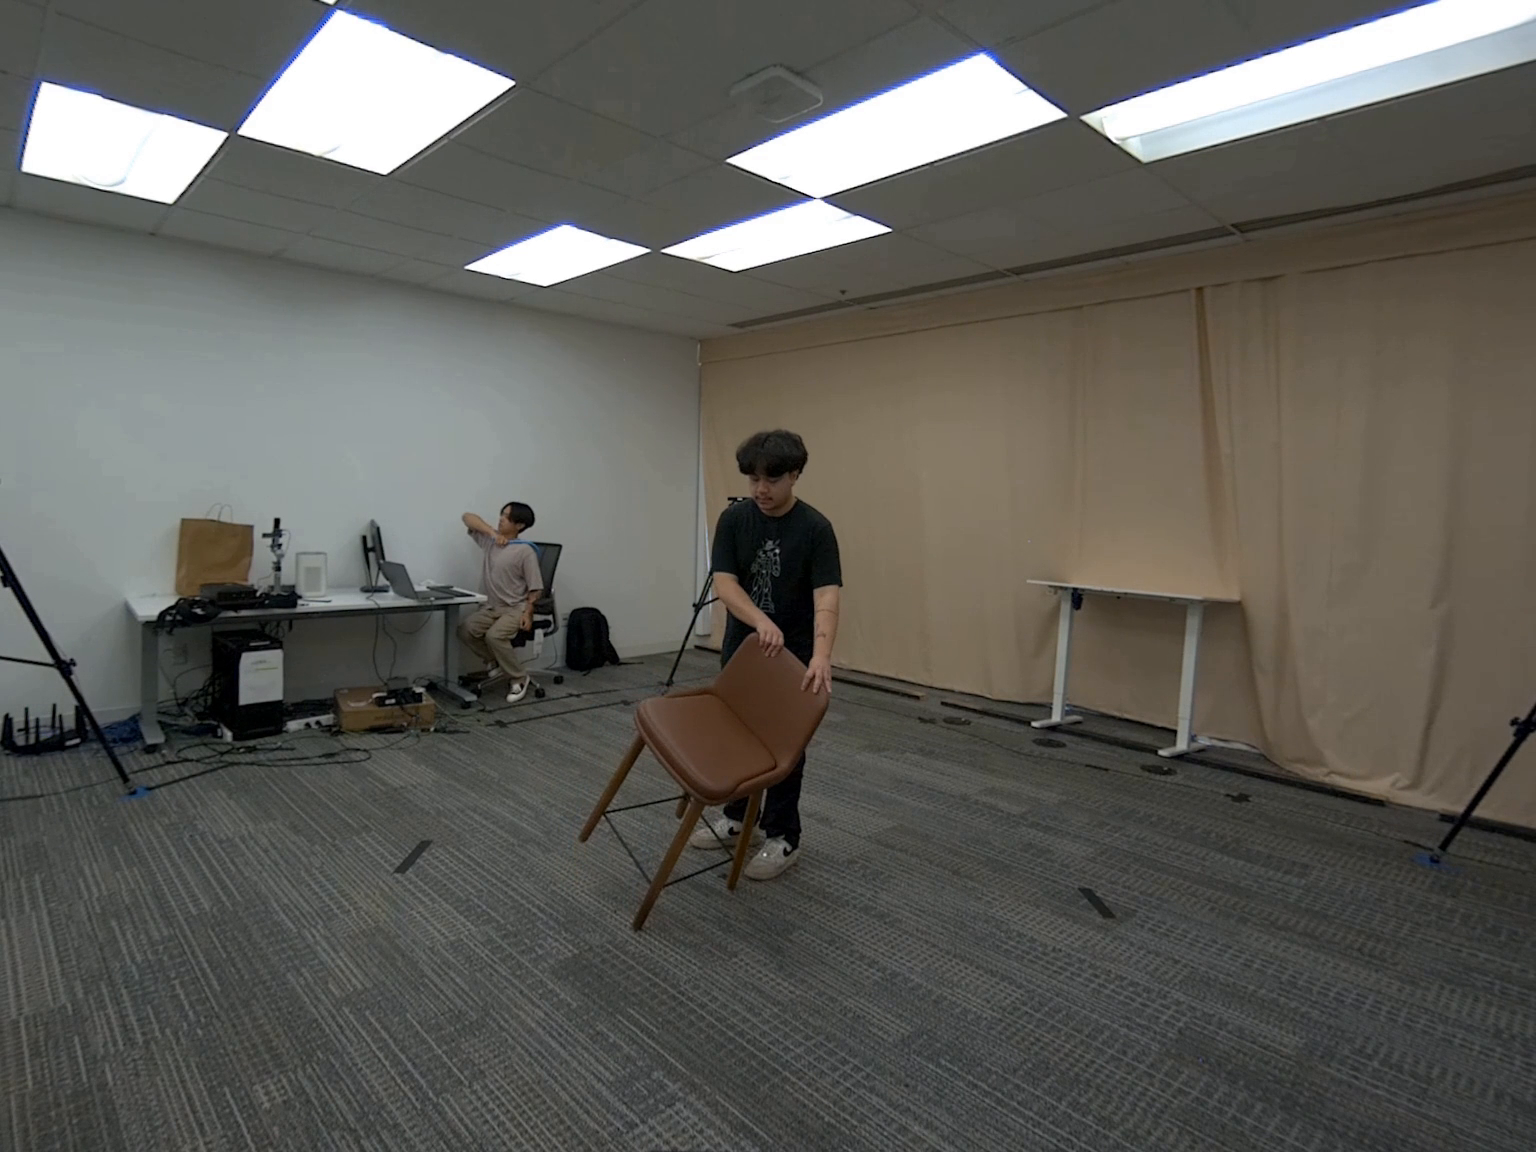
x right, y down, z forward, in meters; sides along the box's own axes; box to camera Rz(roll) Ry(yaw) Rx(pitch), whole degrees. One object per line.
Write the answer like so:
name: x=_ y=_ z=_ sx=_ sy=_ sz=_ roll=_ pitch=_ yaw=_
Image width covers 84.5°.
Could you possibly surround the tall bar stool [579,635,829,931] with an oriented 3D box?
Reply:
tall bar stool: x=-0.229 y=0.663 z=2.802 sx=0.456 sy=0.883 sz=0.471 roll=2 pitch=30 yaw=-44
